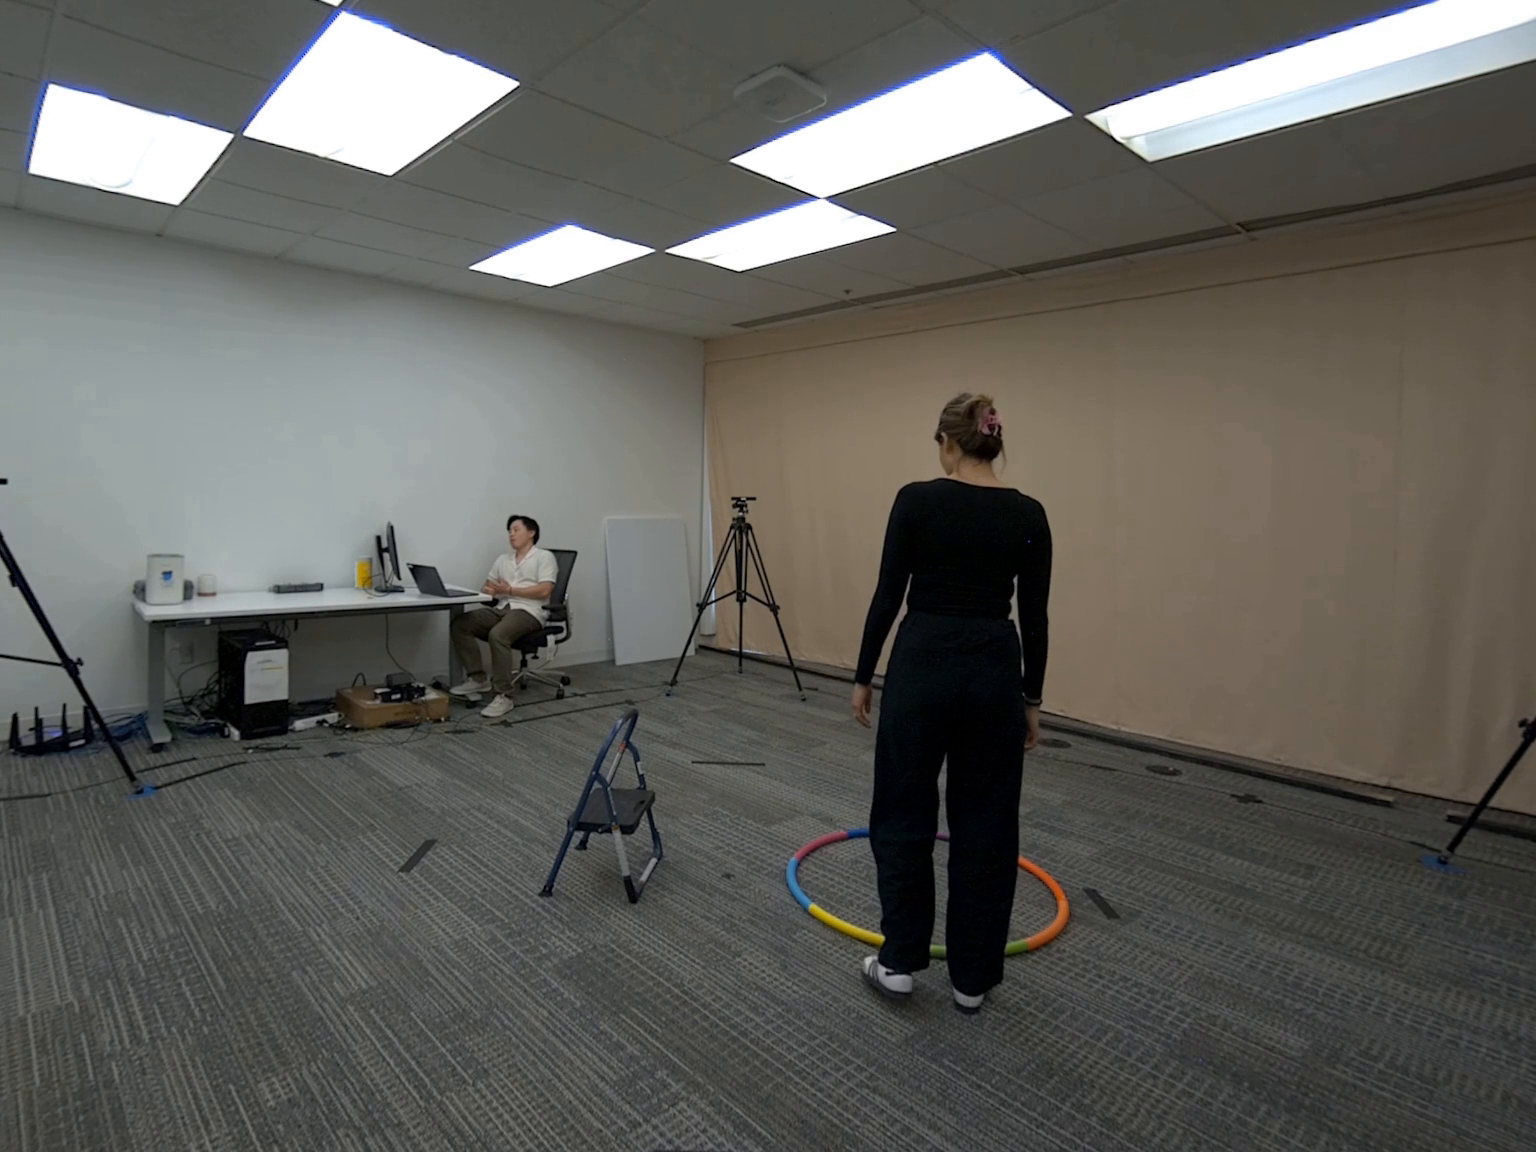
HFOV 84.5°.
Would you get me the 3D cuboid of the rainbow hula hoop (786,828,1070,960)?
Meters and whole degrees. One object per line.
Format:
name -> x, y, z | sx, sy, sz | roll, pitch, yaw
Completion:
rainbow hula hoop -> 0.546, 1.095, 3.056 | 0.978, 0.035, 0.982 | 1, 5, -1
